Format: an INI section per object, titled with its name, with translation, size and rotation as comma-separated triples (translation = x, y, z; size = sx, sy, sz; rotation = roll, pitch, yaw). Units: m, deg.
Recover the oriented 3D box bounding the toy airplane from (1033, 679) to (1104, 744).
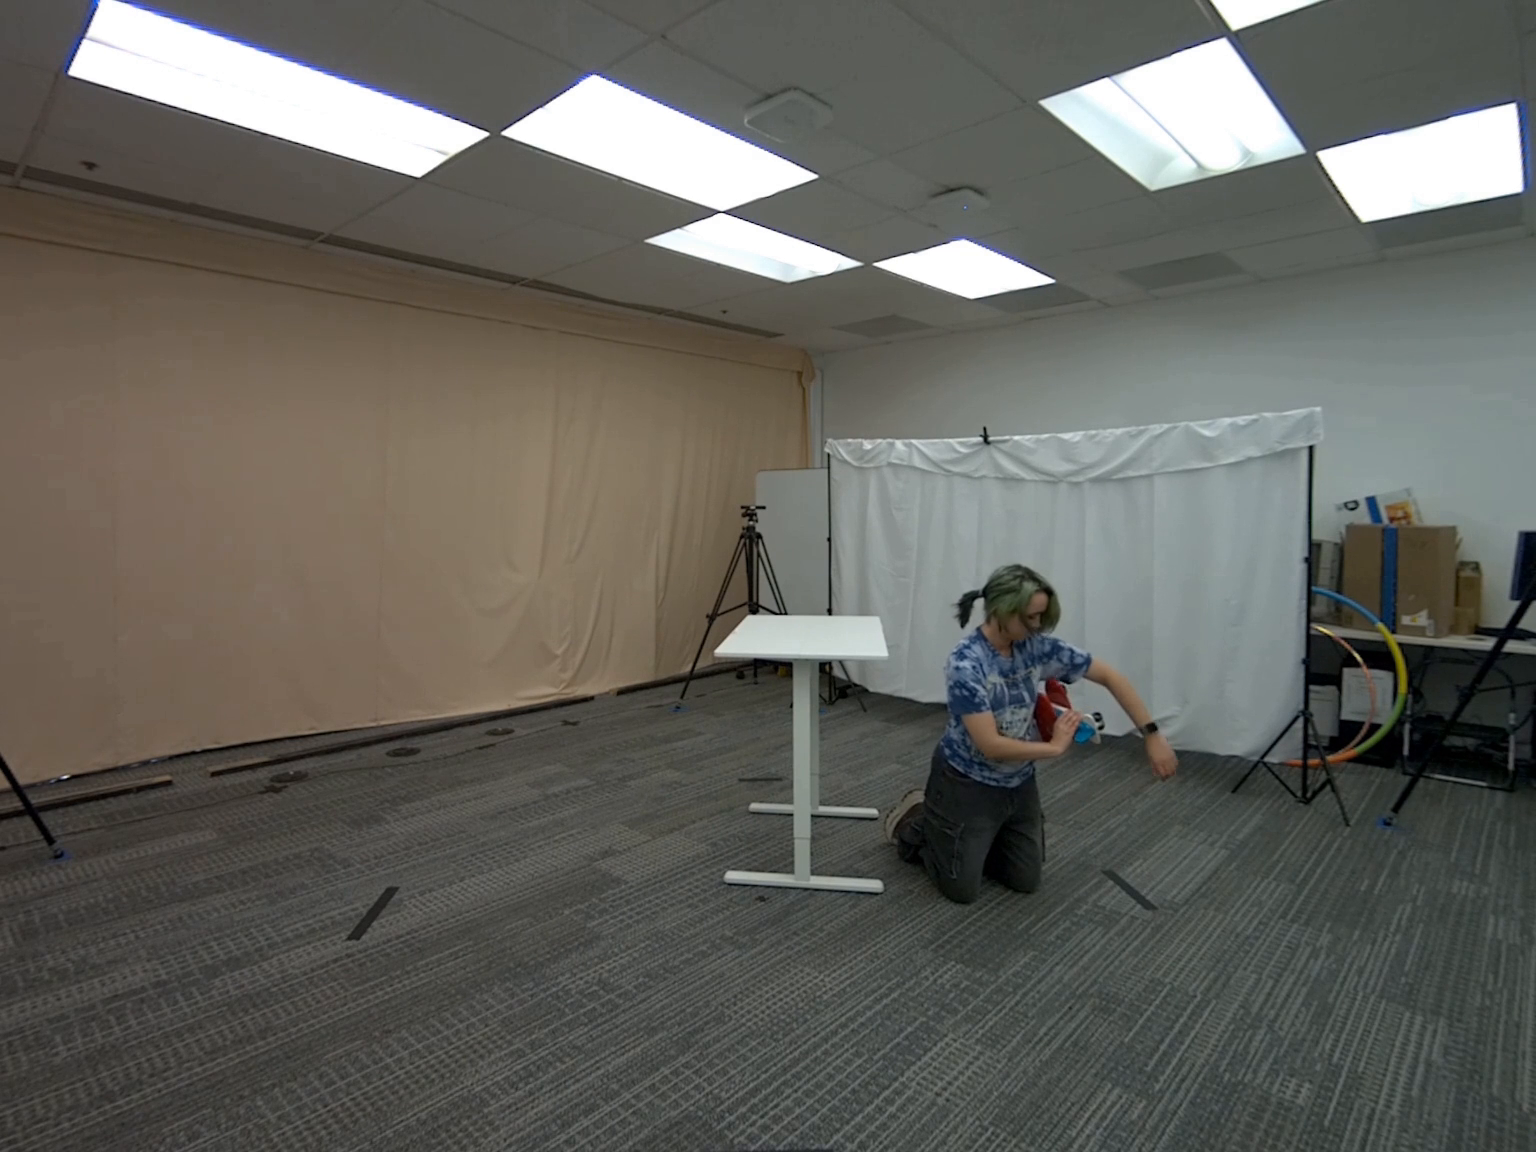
[toy airplane]
translation = 1.044, 0.486, 2.918
size = 0.155, 0.252, 0.260
rotation = -26, -2, -11
